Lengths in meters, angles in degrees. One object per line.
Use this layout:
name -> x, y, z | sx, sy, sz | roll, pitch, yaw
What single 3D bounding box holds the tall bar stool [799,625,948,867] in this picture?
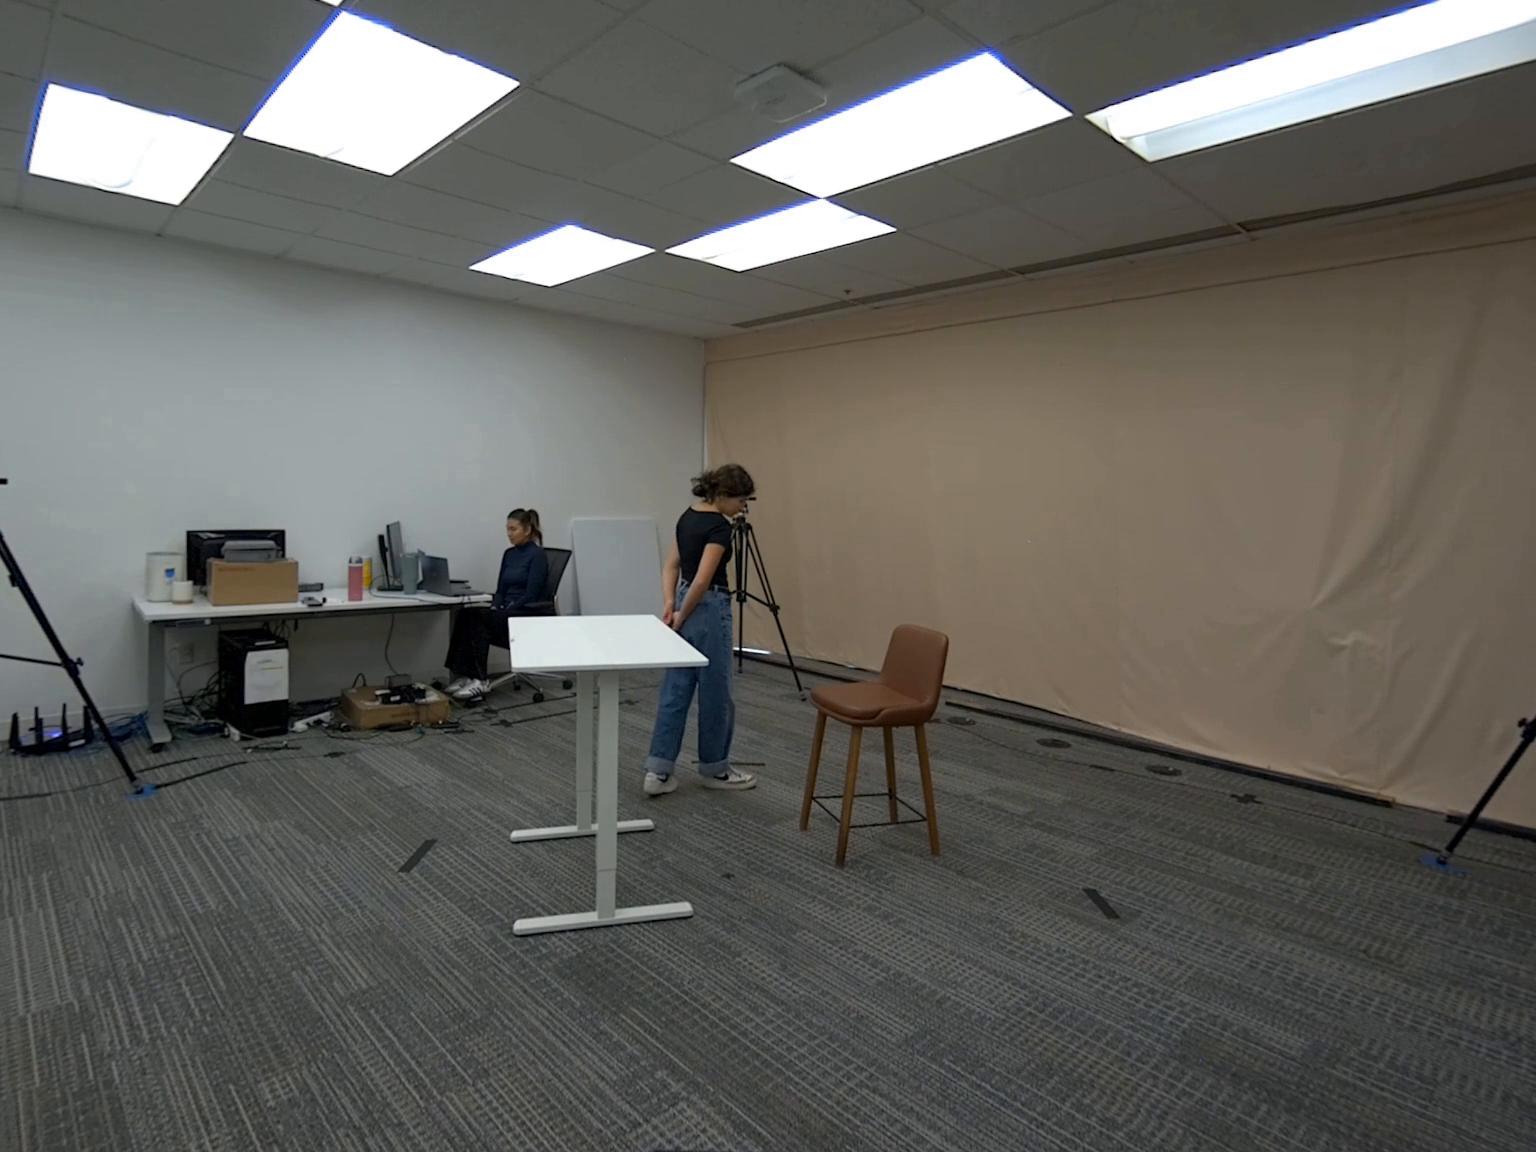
tall bar stool -> 0.419, 0.657, 3.425 | 0.461, 0.888, 0.464 | 2, 3, -19
